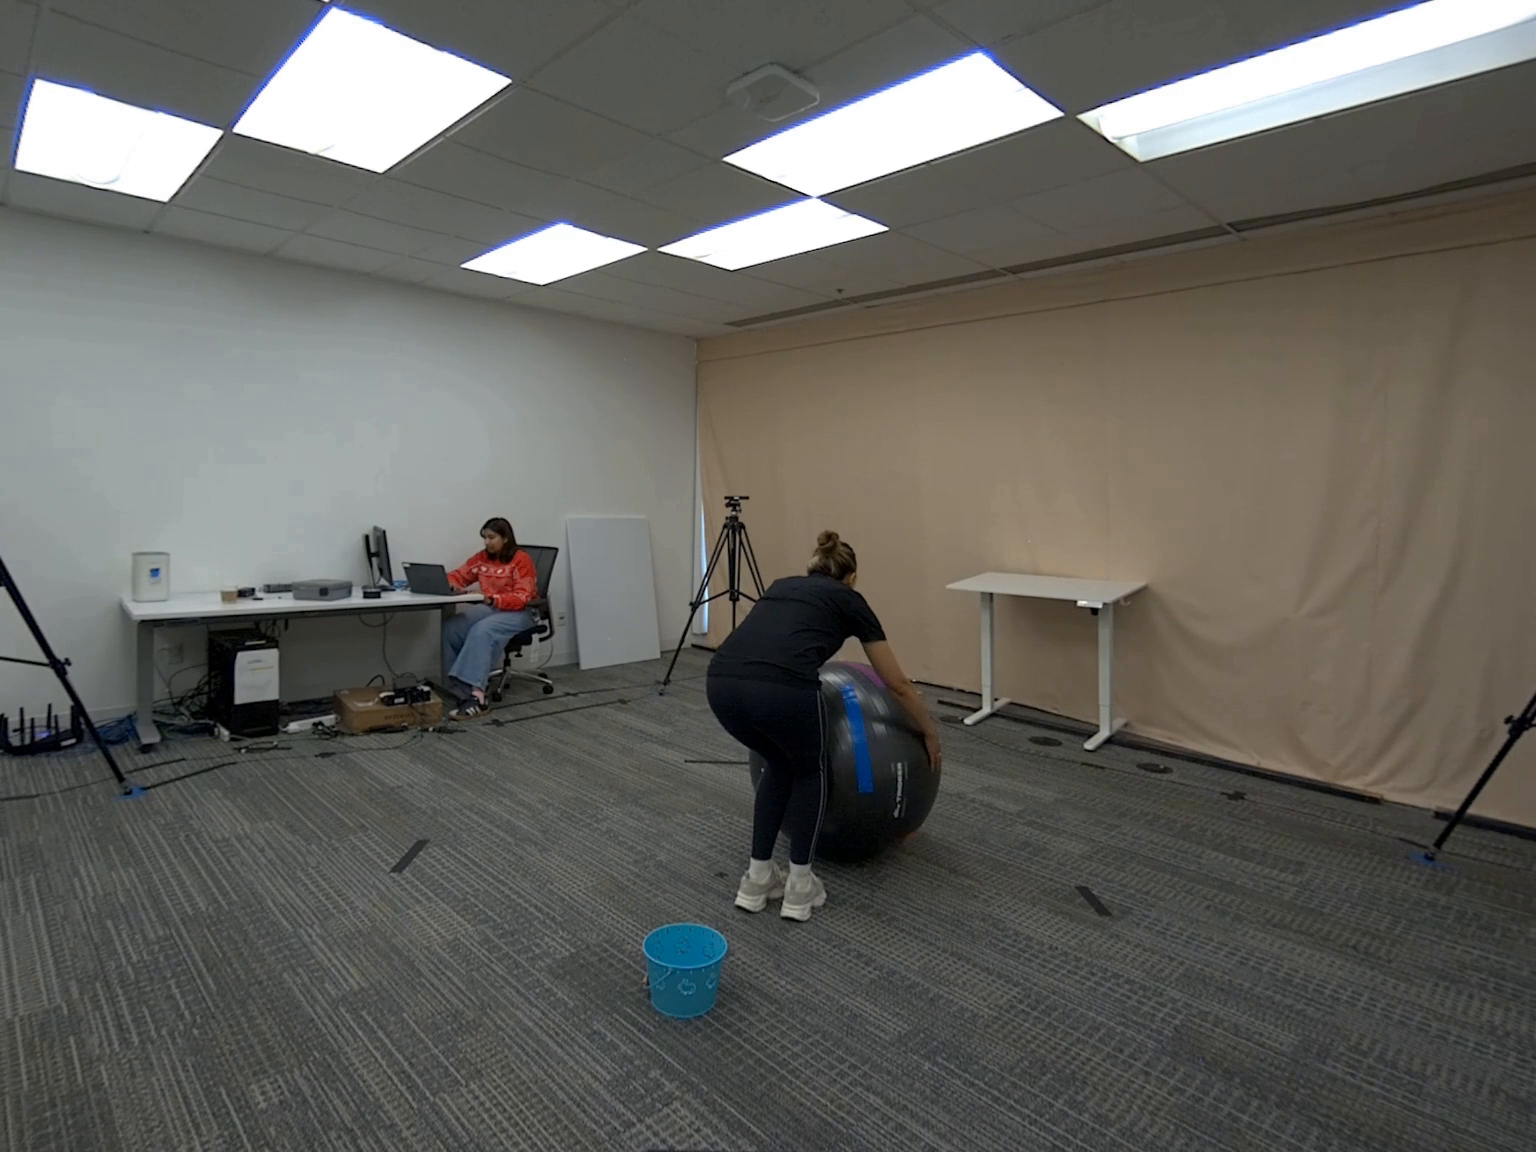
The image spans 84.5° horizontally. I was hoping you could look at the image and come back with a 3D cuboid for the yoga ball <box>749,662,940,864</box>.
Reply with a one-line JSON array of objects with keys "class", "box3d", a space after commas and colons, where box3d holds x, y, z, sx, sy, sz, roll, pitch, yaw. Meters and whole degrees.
[{"class": "yoga ball", "box3d": [0.299, 0.708, 3.344, 0.757, 0.756, 0.761, 1, 4, -1]}]
